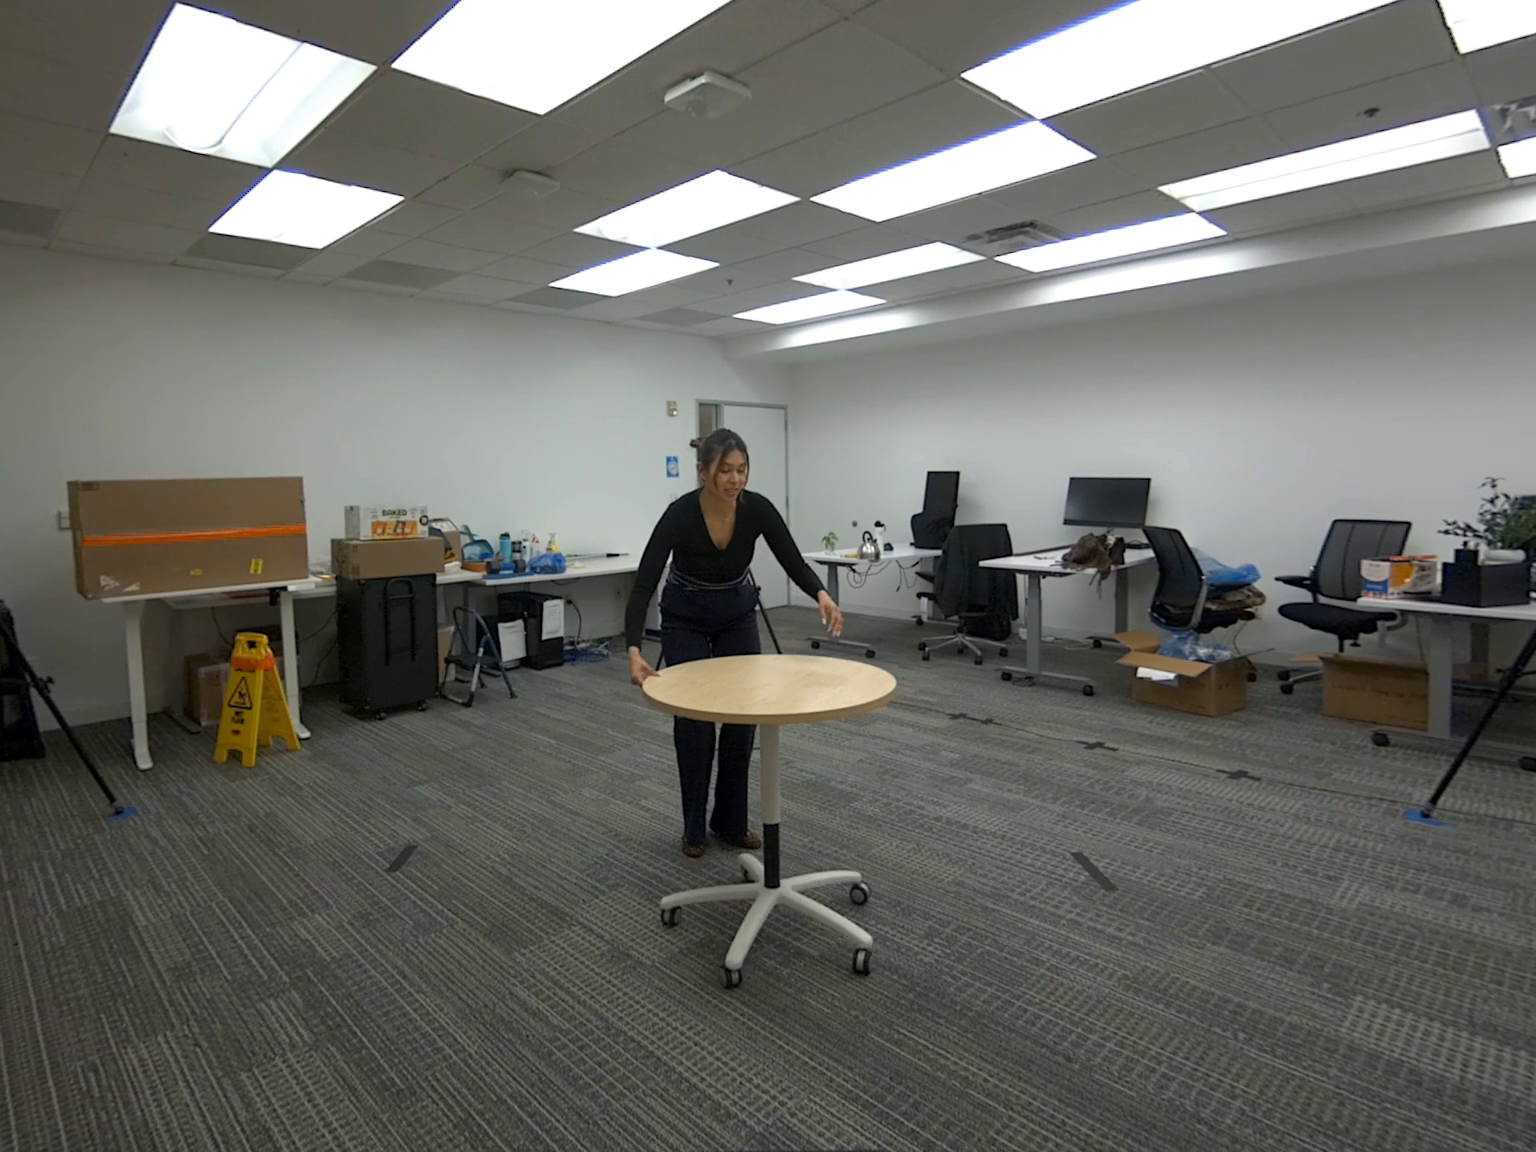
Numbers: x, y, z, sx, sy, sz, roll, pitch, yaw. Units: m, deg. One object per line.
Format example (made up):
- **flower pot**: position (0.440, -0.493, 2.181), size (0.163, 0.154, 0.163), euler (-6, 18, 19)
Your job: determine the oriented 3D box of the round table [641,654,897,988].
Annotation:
- **round table**: position (0.012, 0.710, 2.627), size (0.763, 0.790, 0.768), euler (-2, 5, -2)
